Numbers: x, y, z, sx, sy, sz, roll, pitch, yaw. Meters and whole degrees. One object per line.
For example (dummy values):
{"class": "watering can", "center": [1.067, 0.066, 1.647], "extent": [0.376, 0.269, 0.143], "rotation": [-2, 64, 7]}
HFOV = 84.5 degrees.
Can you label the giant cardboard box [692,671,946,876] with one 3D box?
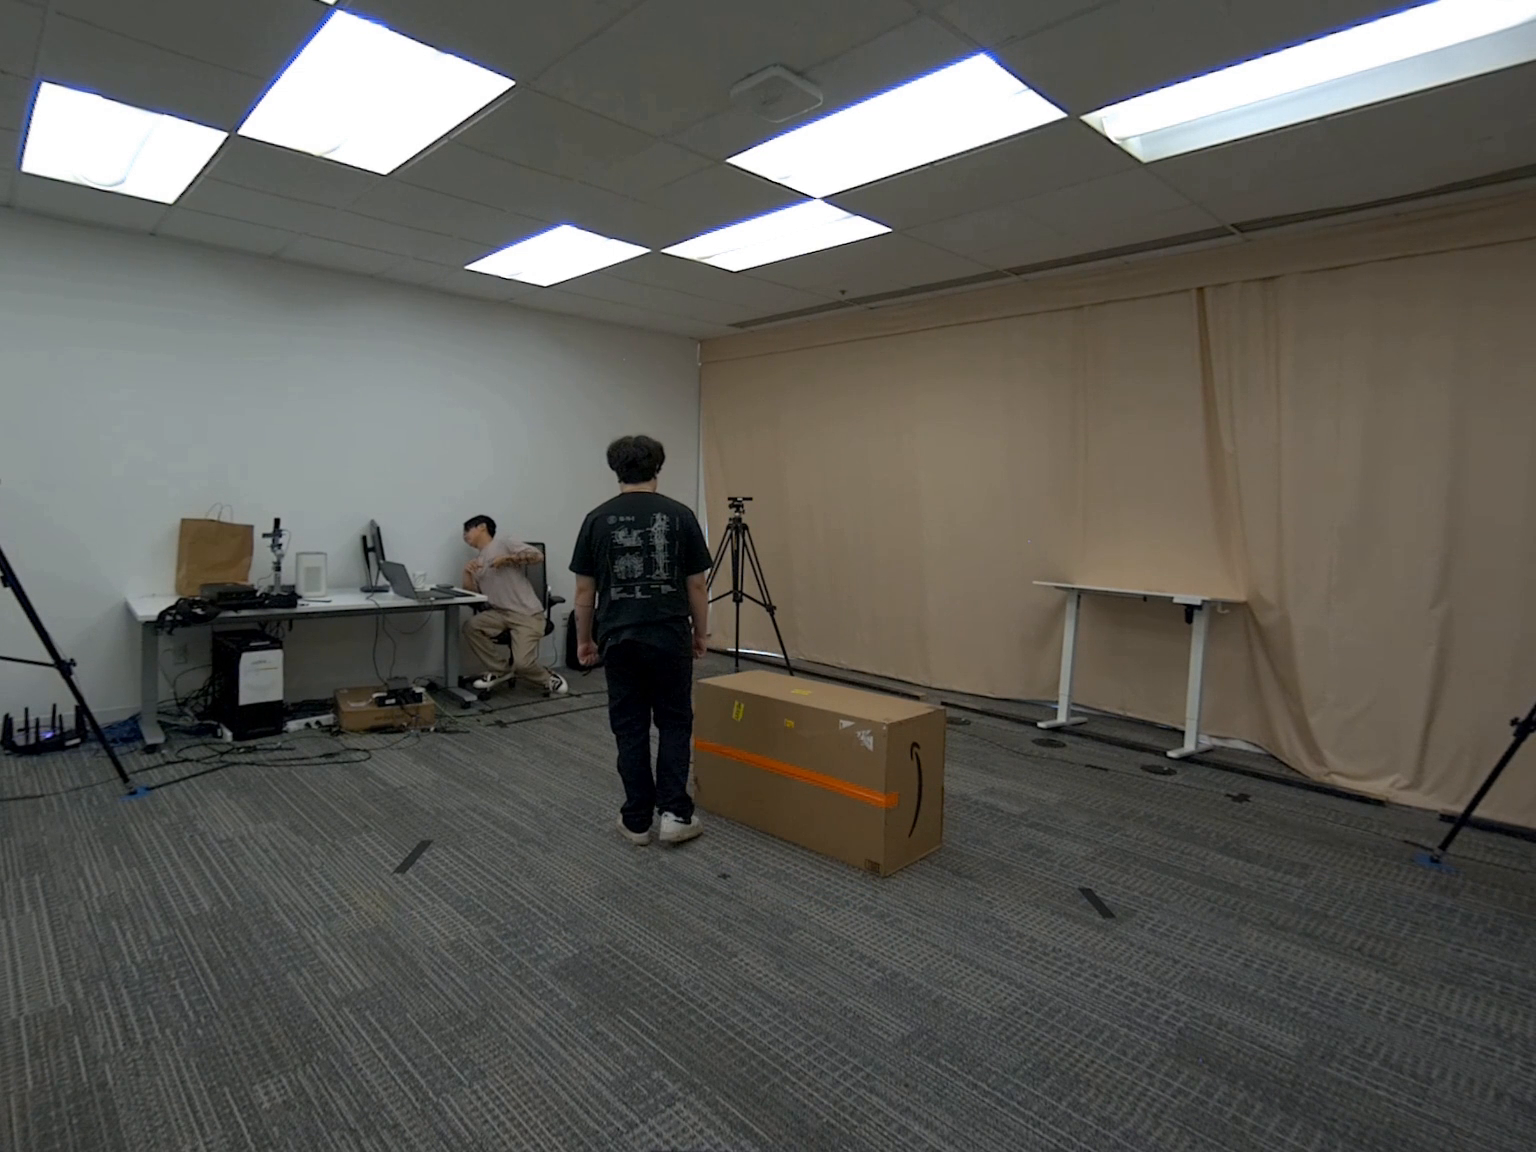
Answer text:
{"class": "giant cardboard box", "center": [0.185, 0.787, 3.605], "extent": [1.053, 0.582, 0.437], "rotation": [5, 5, 42]}
